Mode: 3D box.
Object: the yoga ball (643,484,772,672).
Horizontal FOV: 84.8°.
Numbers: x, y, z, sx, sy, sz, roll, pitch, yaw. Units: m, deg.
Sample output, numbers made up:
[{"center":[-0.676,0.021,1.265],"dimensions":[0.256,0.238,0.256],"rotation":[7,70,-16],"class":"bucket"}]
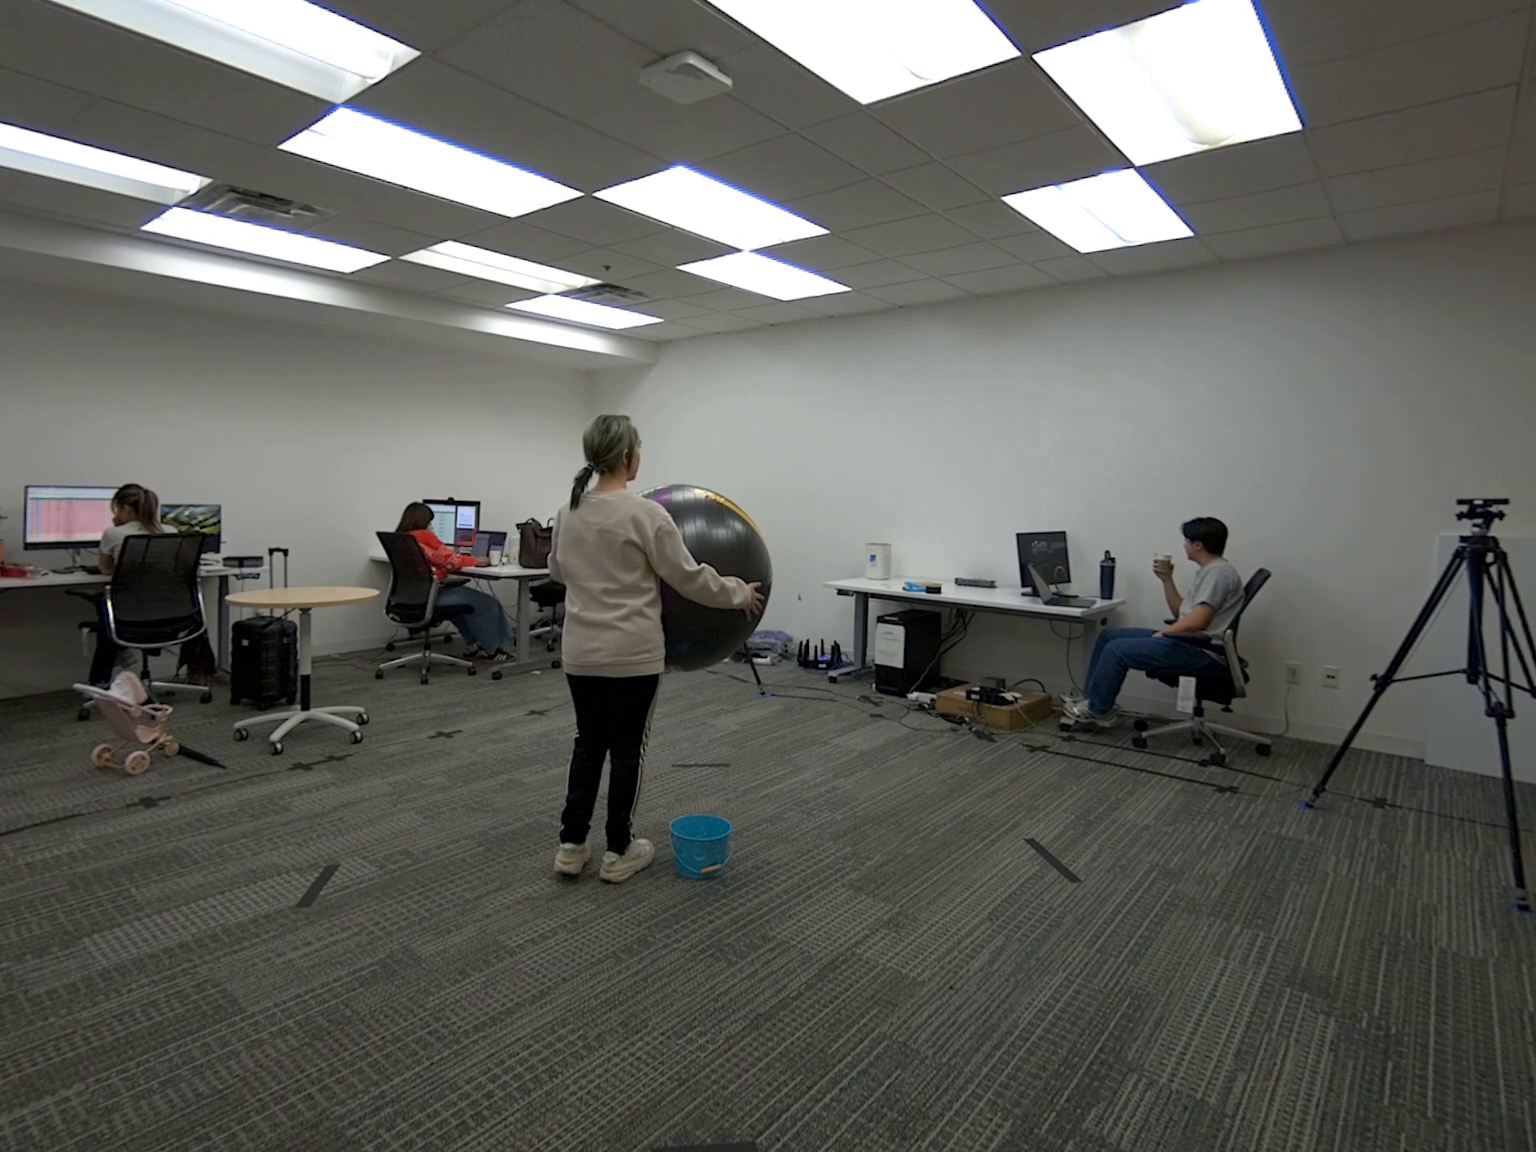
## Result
[{"center":[-0.370,0.010,3.463],"dimensions":[0.757,0.756,0.762],"rotation":[1,4,-2],"class":"yoga ball"}]
